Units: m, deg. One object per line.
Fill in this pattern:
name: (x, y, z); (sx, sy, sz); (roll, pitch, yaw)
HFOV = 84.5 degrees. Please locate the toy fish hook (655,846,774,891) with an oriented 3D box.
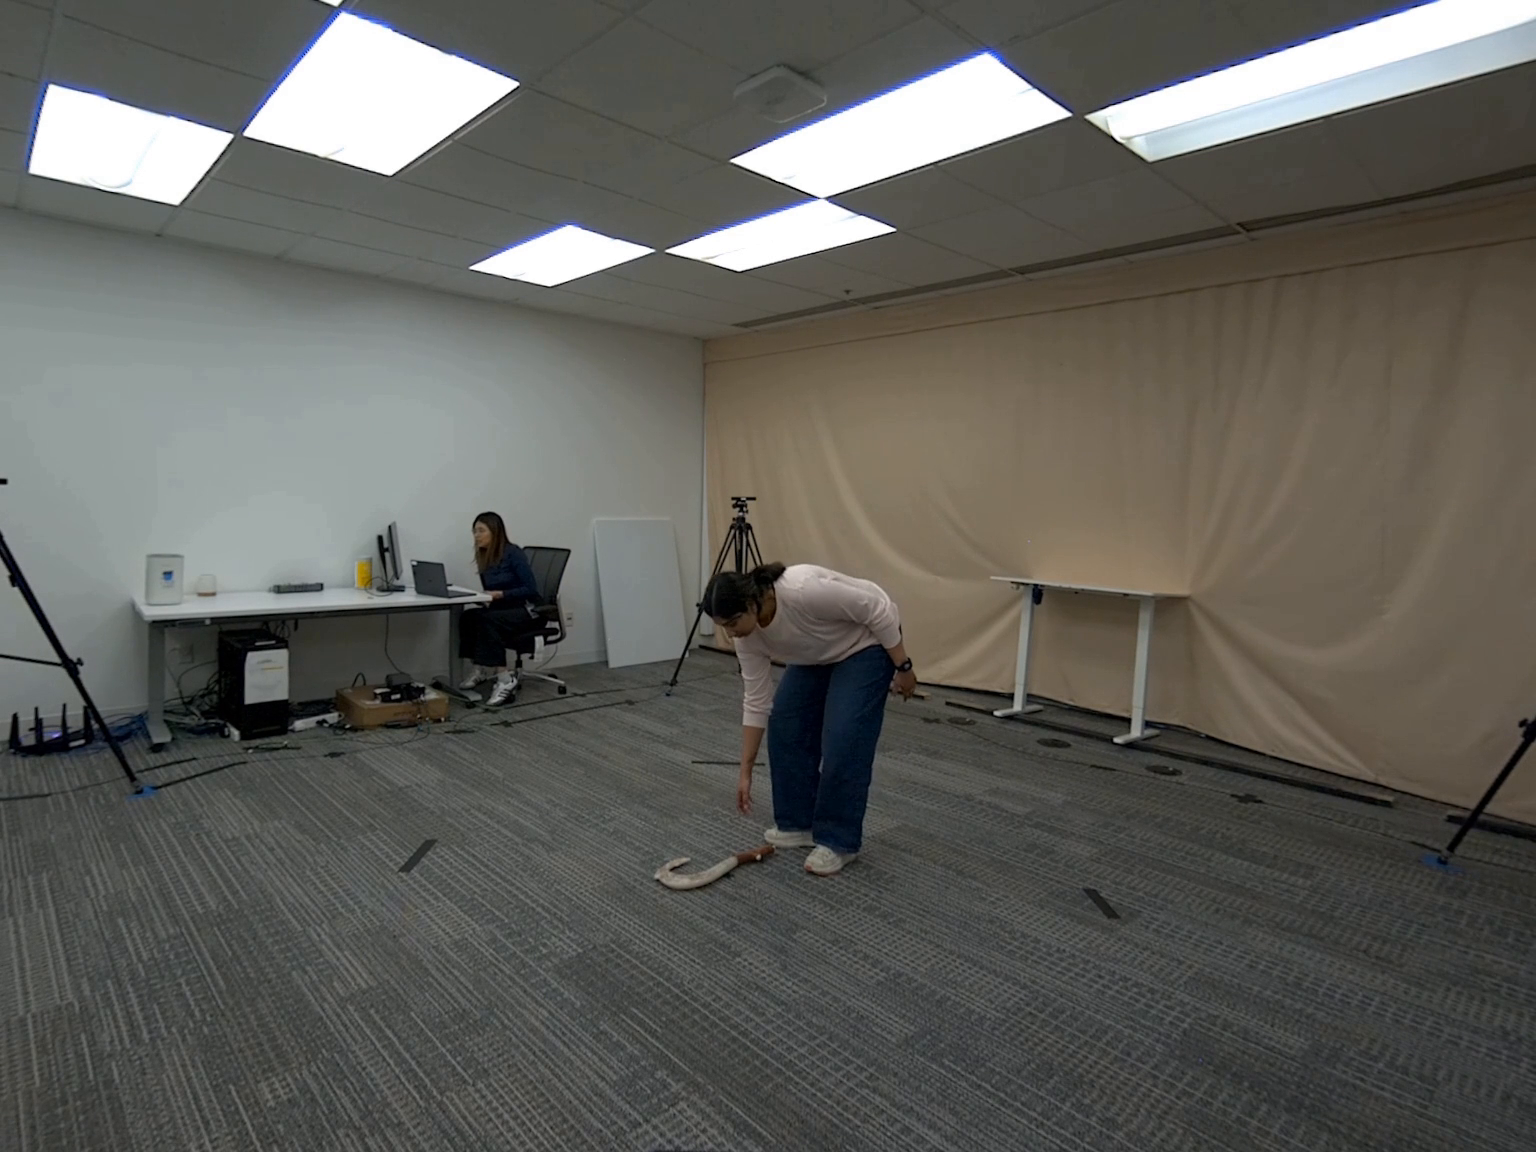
toy fish hook: (-0.204, 1.077, 3.173); (0.495, 0.048, 0.230); (-3, 8, -41)
